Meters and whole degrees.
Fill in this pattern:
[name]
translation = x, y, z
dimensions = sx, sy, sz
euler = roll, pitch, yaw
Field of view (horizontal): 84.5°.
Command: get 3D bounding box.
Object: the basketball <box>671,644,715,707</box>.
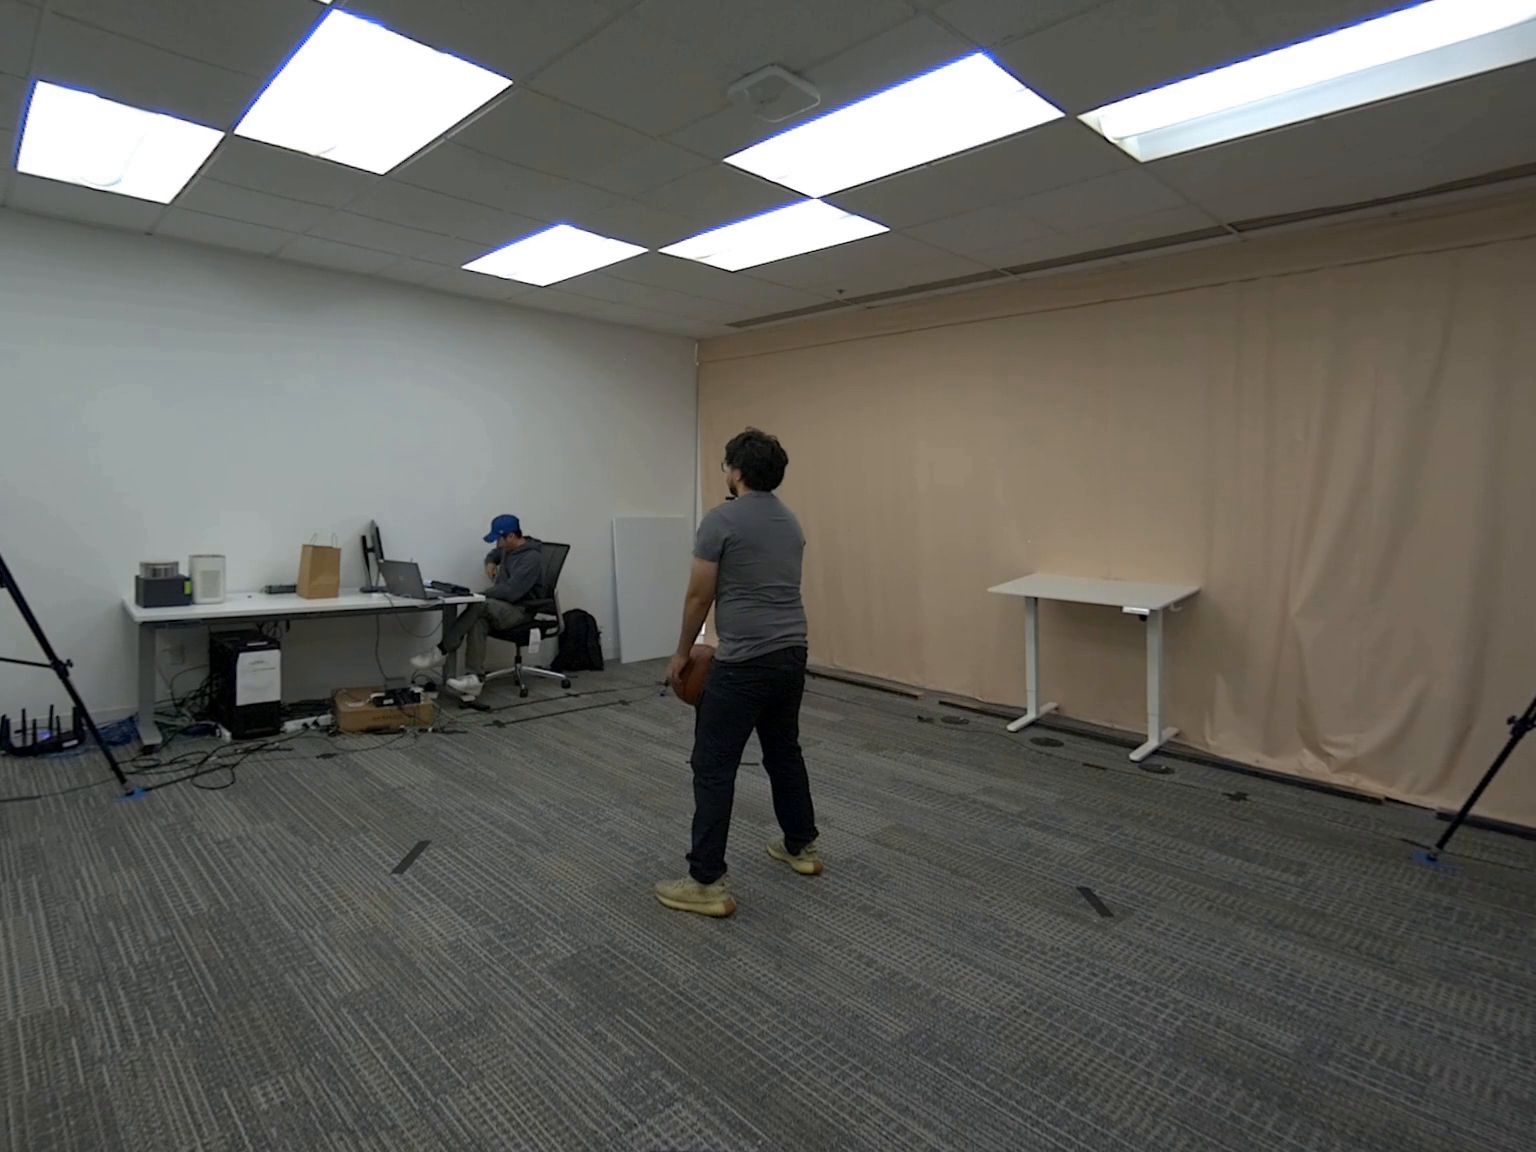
[basketball]
translation = -0.263, 0.381, 3.232
dimensions = 0.236, 0.235, 0.237
euler = 1, 4, -1
